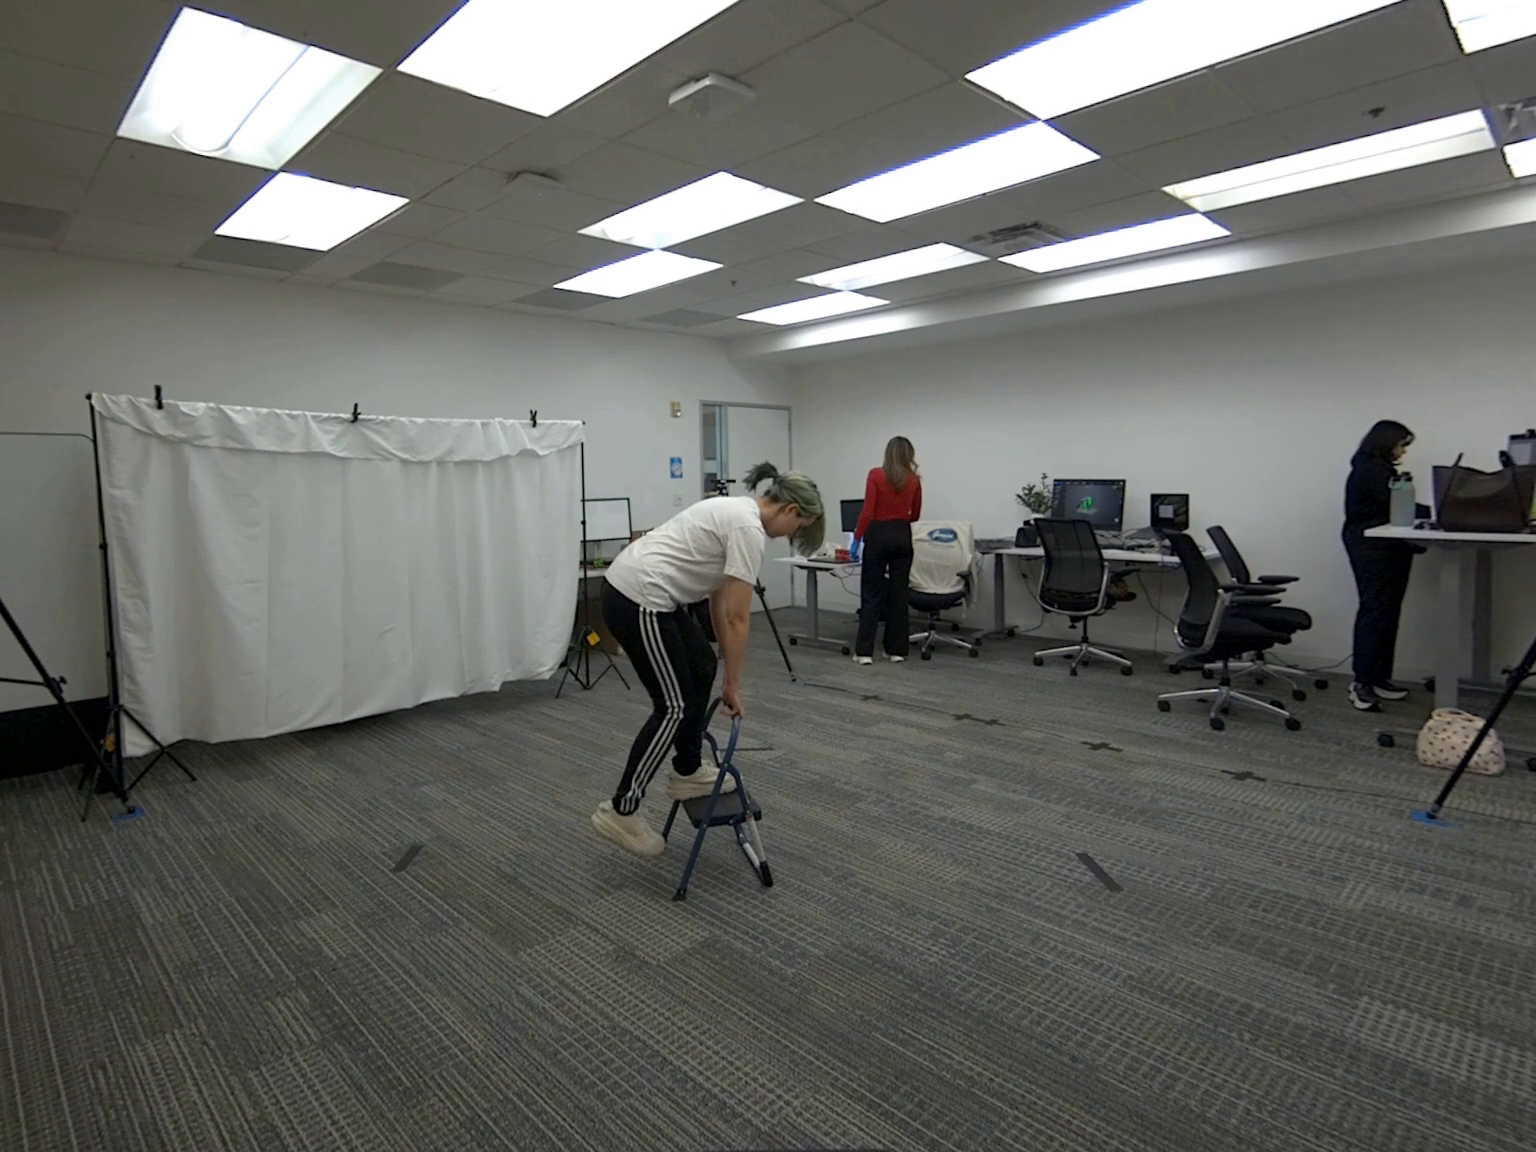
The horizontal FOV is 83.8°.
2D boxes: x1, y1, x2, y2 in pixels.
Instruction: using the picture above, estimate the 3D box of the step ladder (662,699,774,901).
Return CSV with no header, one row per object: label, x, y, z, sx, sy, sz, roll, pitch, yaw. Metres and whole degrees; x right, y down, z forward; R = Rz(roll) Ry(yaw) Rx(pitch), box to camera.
step ladder,-0.204,0.758,3.073,0.344,0.604,0.438,-2,5,-16
